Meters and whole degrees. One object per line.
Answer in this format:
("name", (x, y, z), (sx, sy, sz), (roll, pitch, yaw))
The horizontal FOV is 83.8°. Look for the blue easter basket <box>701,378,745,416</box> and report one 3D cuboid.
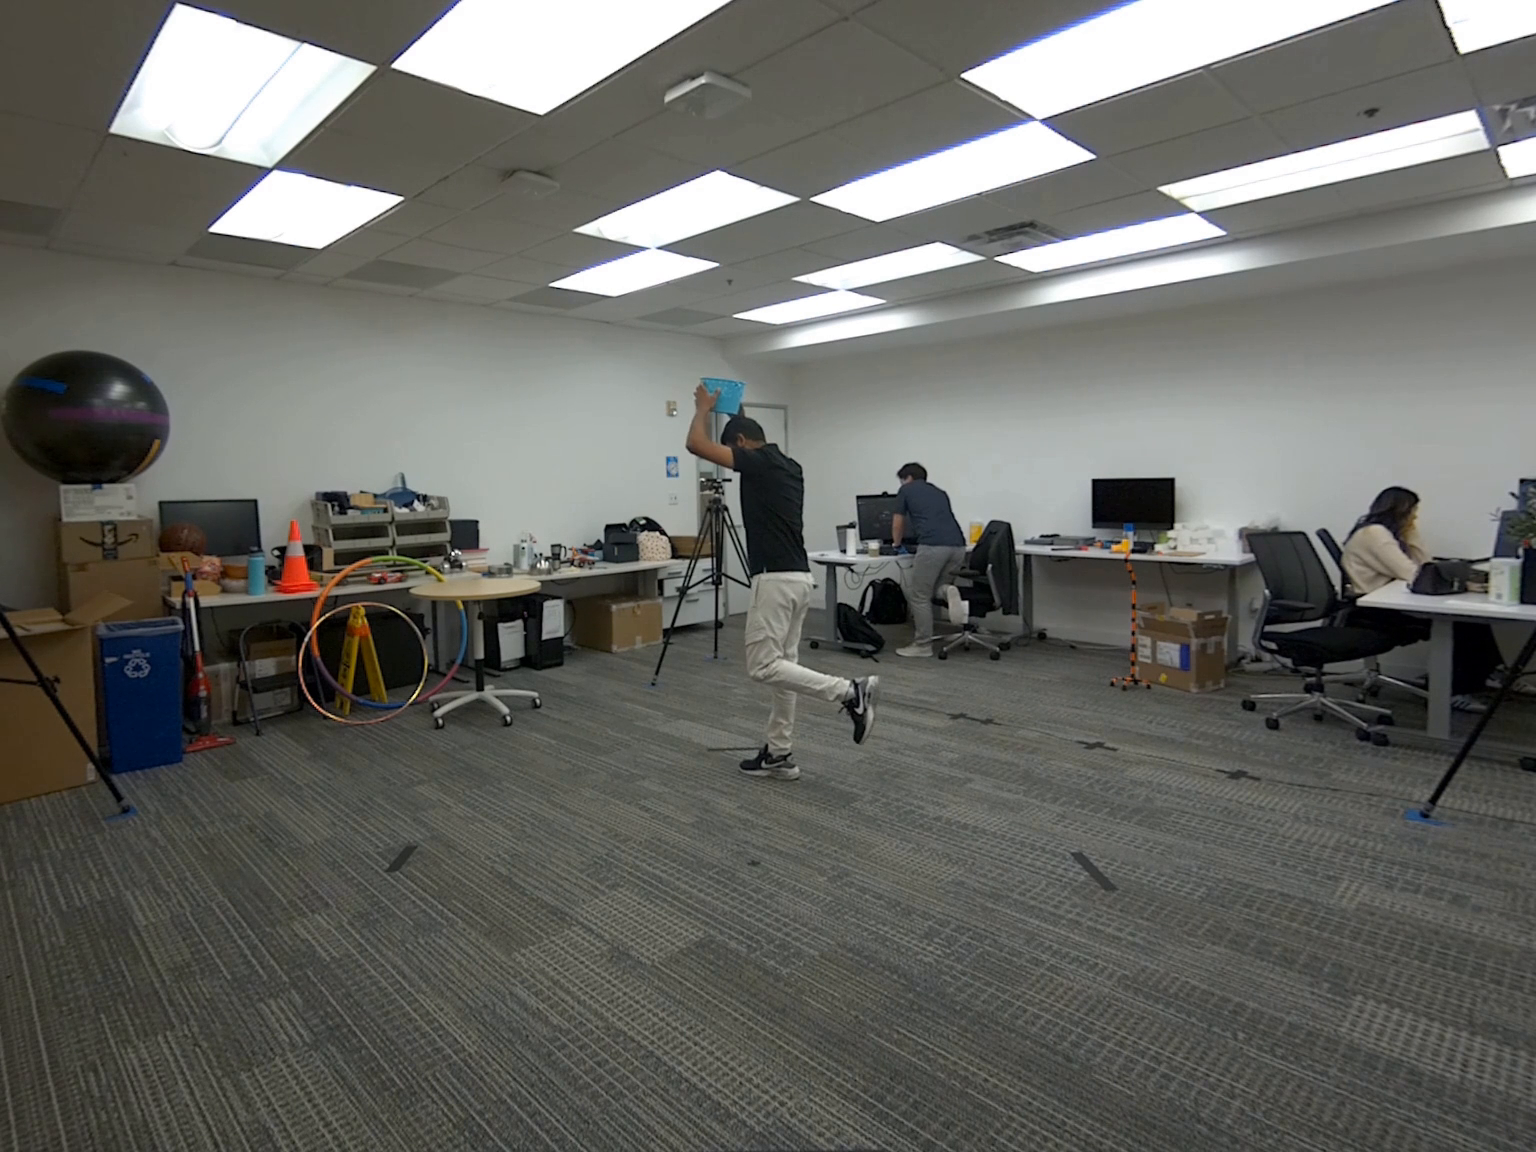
("blue easter basket", (-0.234, -0.873, 4.149), (0.243, 0.155, 0.245), (5, 7, -2))
